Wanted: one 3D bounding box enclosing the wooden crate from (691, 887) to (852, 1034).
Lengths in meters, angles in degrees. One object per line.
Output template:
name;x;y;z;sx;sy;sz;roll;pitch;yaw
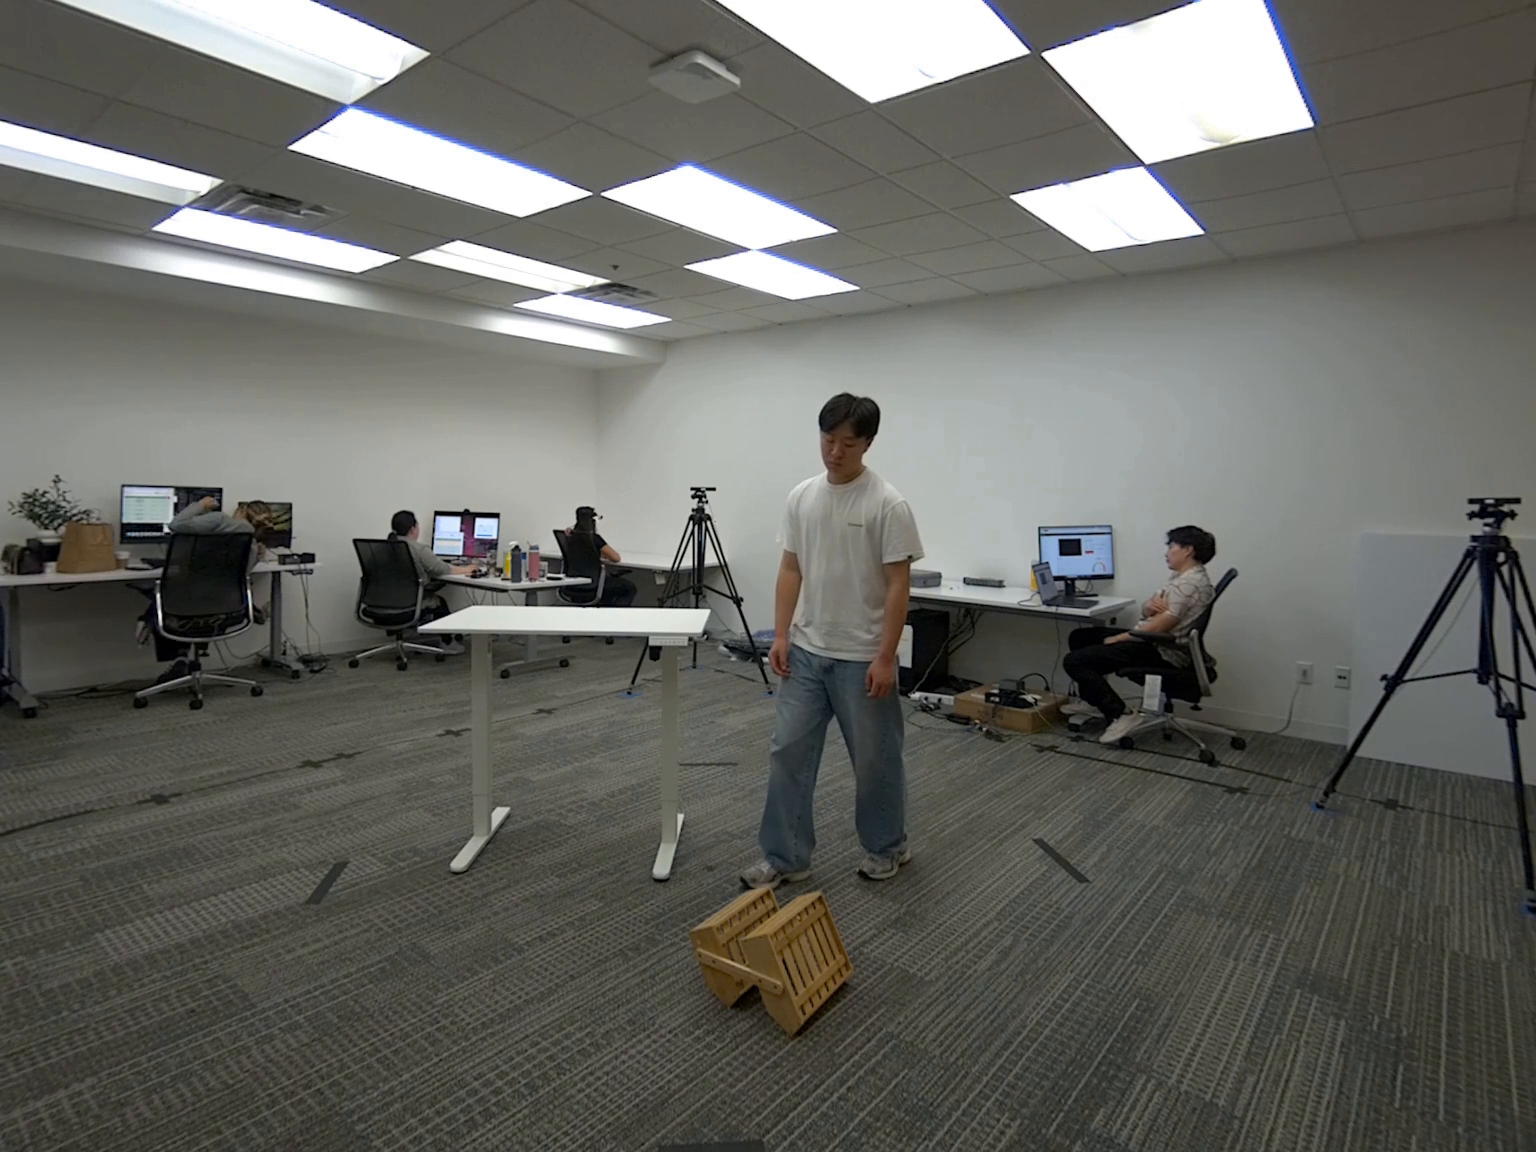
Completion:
wooden crate;0.004;1.054;2.370;0.276;0.307;0.315;-29;-13;31
